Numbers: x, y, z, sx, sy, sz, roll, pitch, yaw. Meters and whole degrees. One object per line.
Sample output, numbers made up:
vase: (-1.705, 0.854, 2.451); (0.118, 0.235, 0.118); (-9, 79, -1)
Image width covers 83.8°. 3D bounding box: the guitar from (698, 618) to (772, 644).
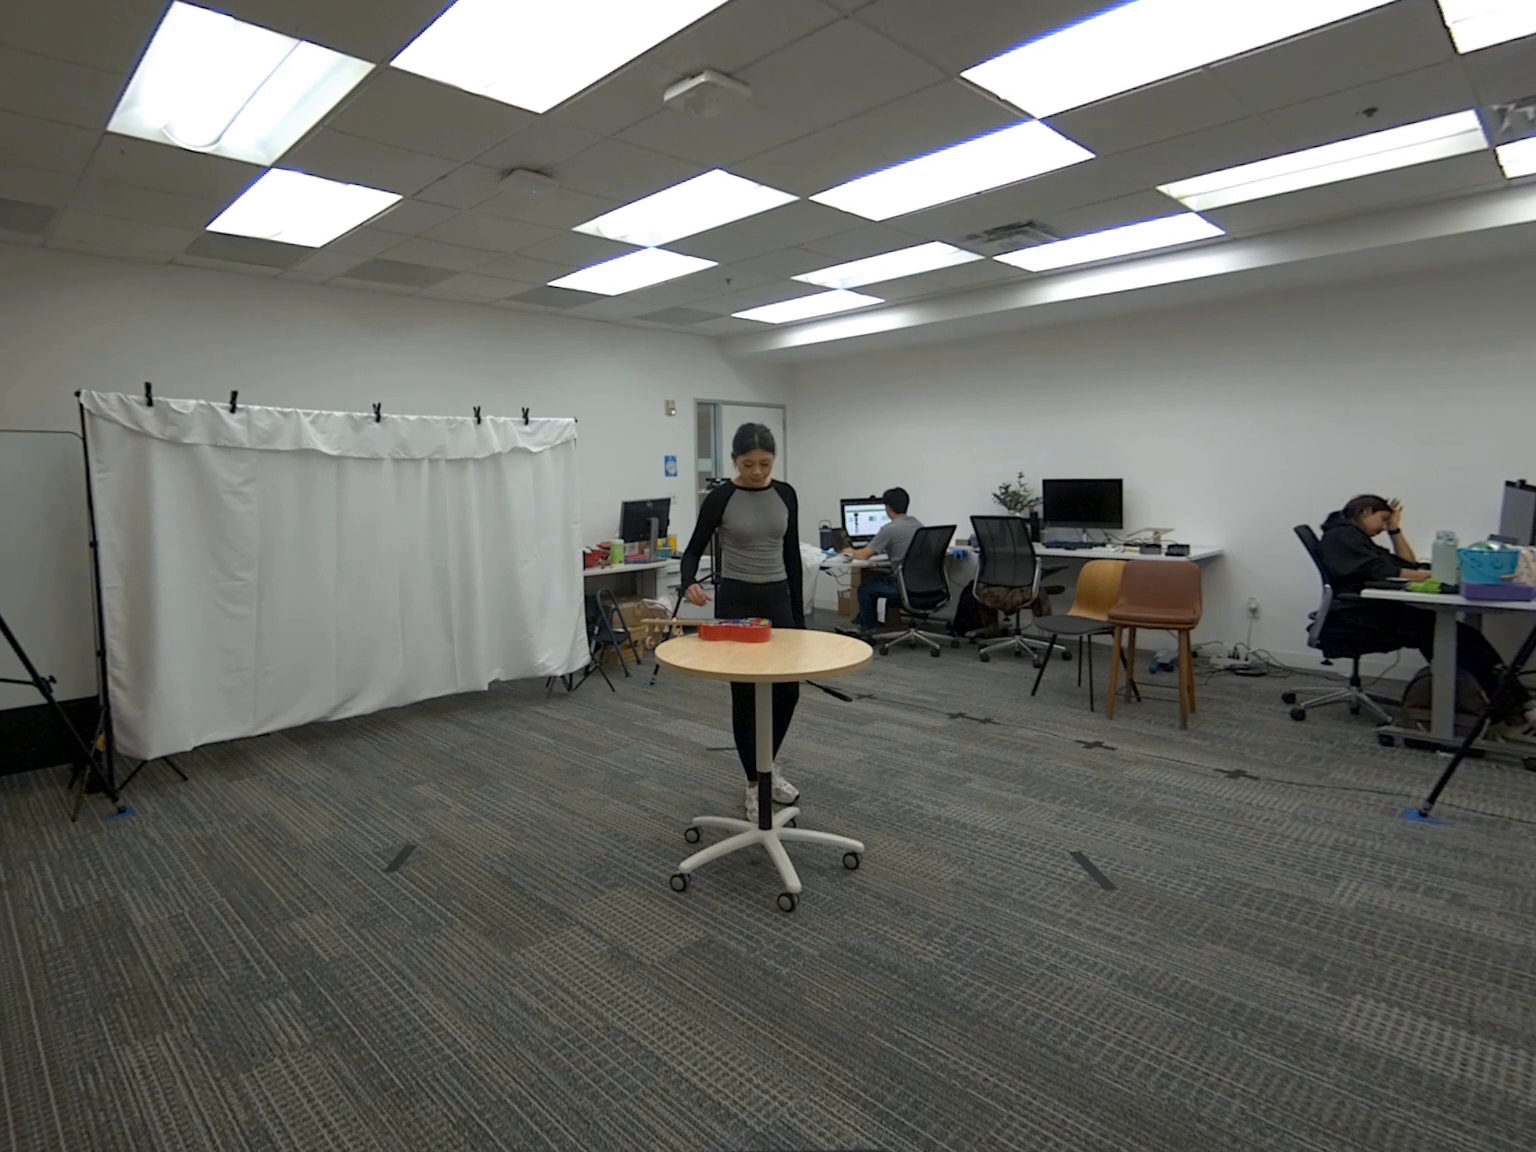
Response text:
guitar: (-0.227, 0.201, 3.264); (0.505, 0.070, 0.191); (2, 7, 14)
